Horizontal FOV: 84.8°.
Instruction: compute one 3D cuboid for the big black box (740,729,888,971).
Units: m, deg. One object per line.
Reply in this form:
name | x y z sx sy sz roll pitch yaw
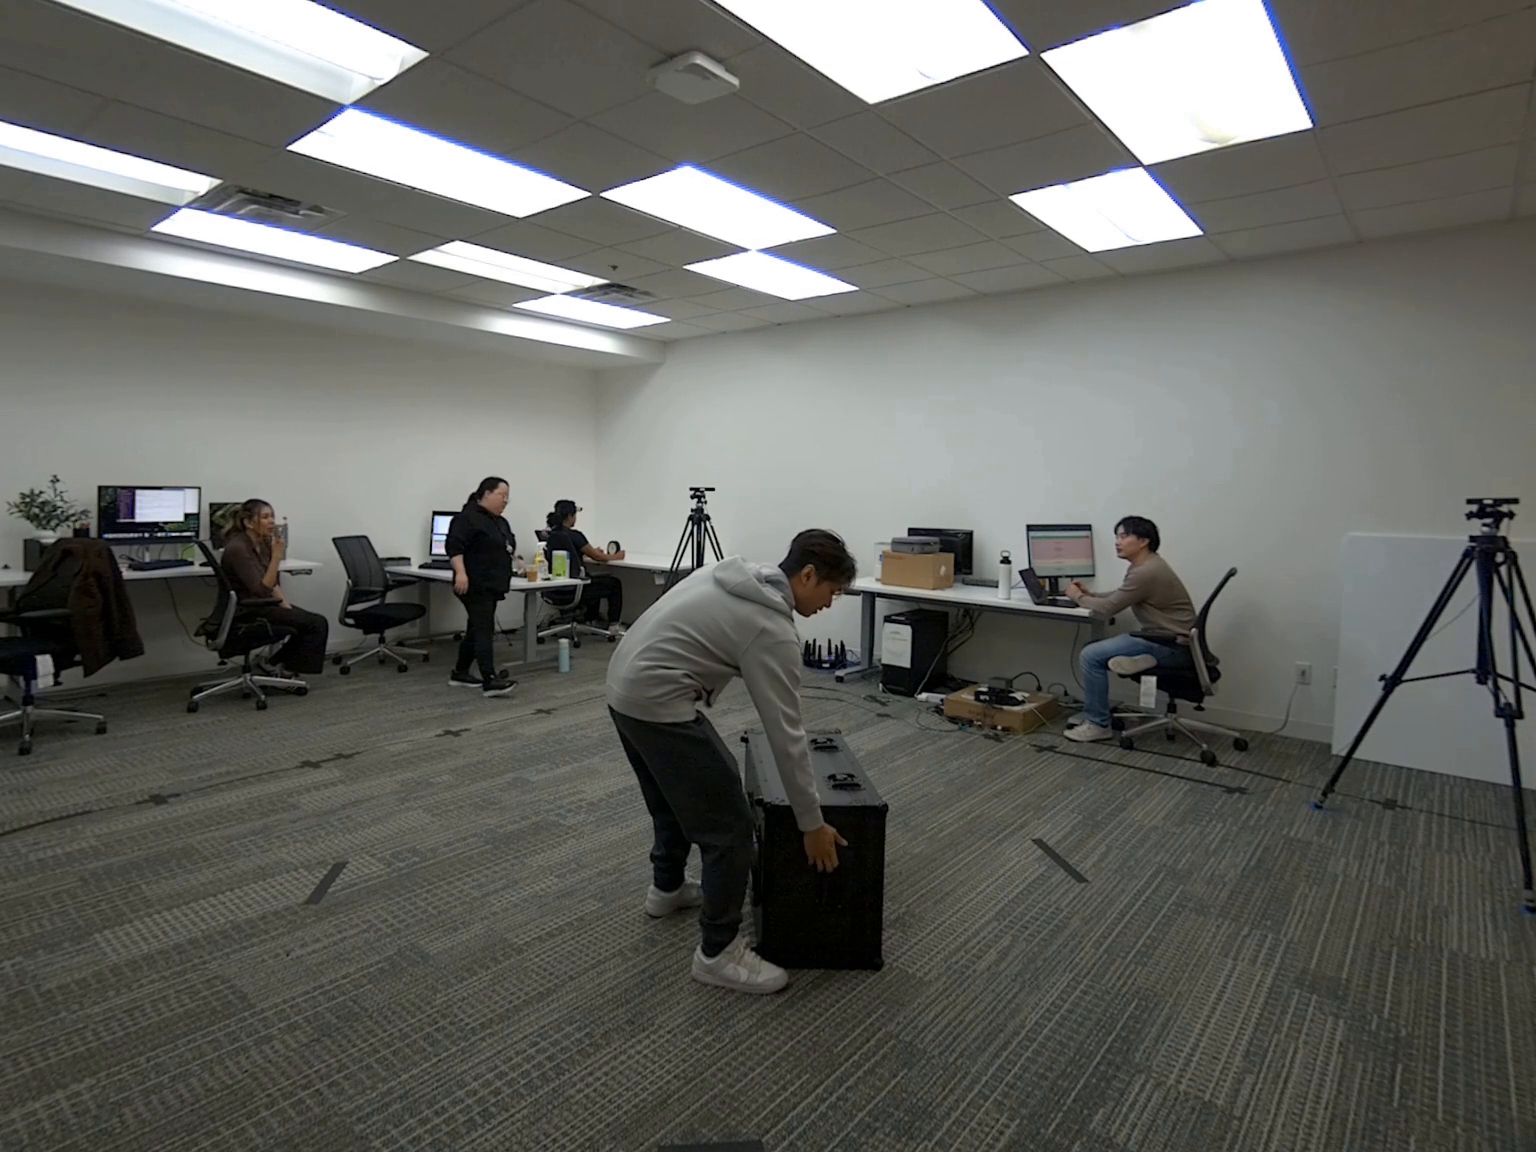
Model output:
big black box | 0.104 0.851 2.873 0.395 0.519 0.868 1 5 -4
